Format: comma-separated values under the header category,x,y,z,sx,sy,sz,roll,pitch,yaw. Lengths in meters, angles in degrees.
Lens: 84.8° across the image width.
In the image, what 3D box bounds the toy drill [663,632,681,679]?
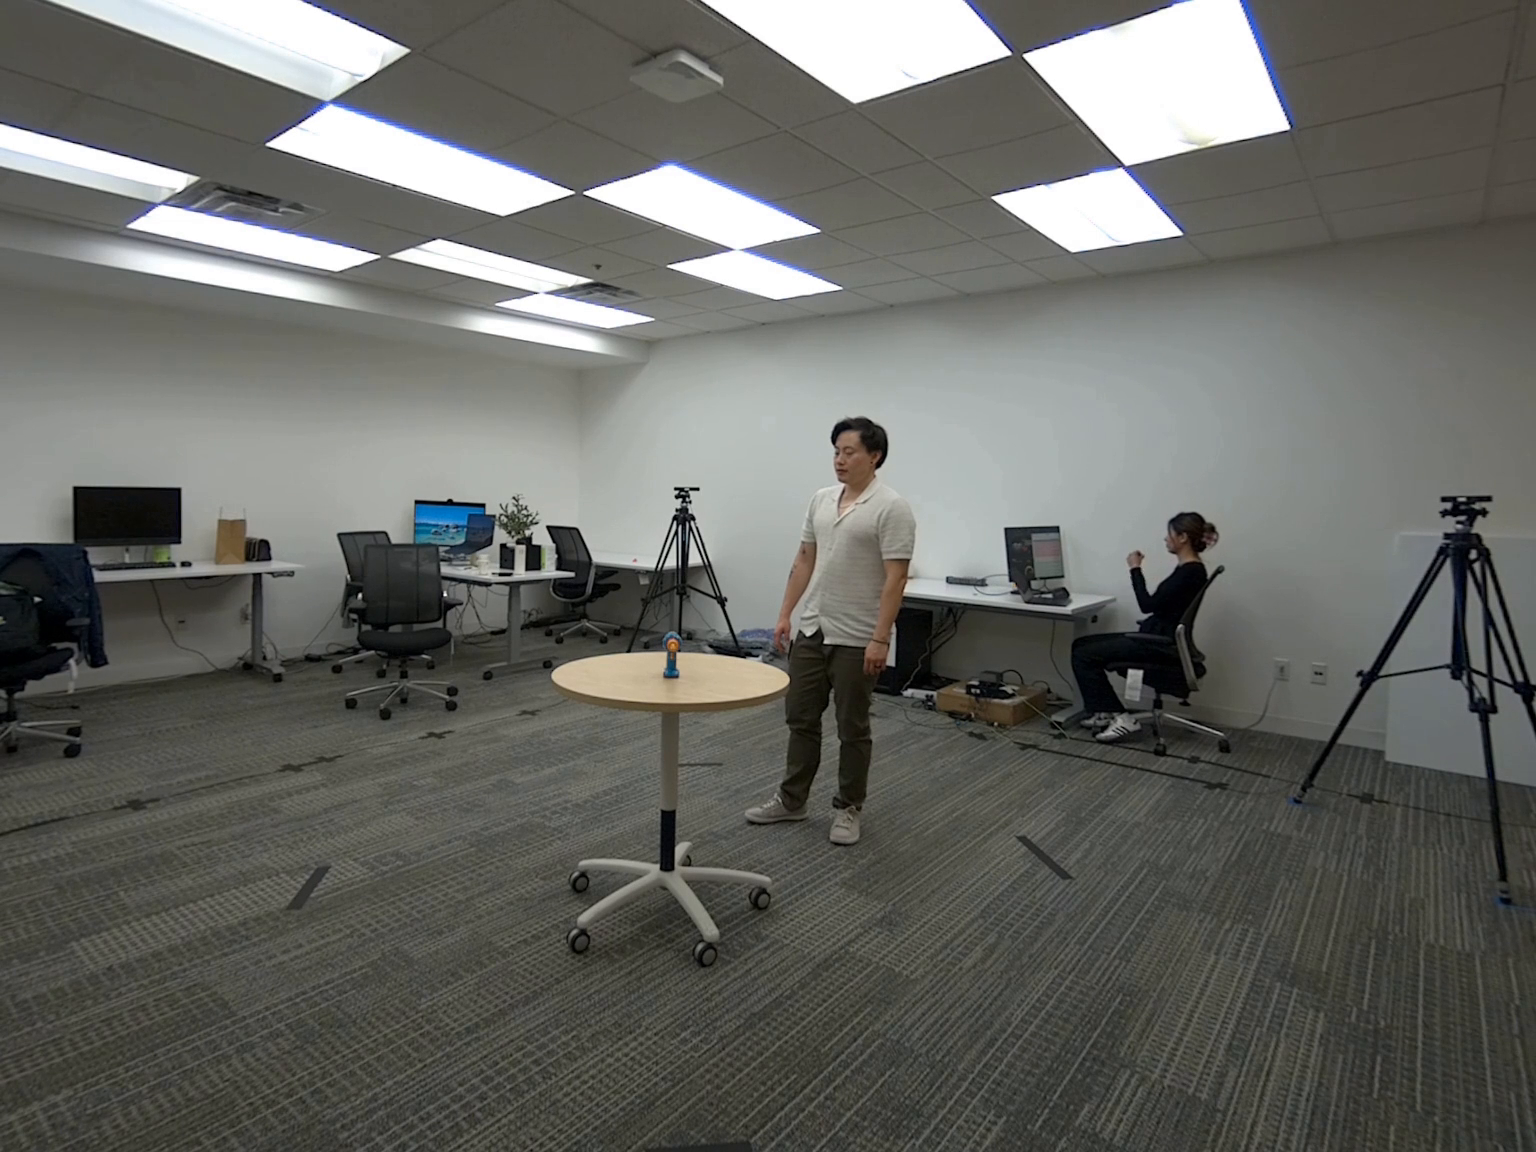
category,x,y,z,sx,sy,sz,roll,pitch,yaw
toy drill,-0.305,0.249,2.685,0.060,0.146,0.172,2,3,-11
